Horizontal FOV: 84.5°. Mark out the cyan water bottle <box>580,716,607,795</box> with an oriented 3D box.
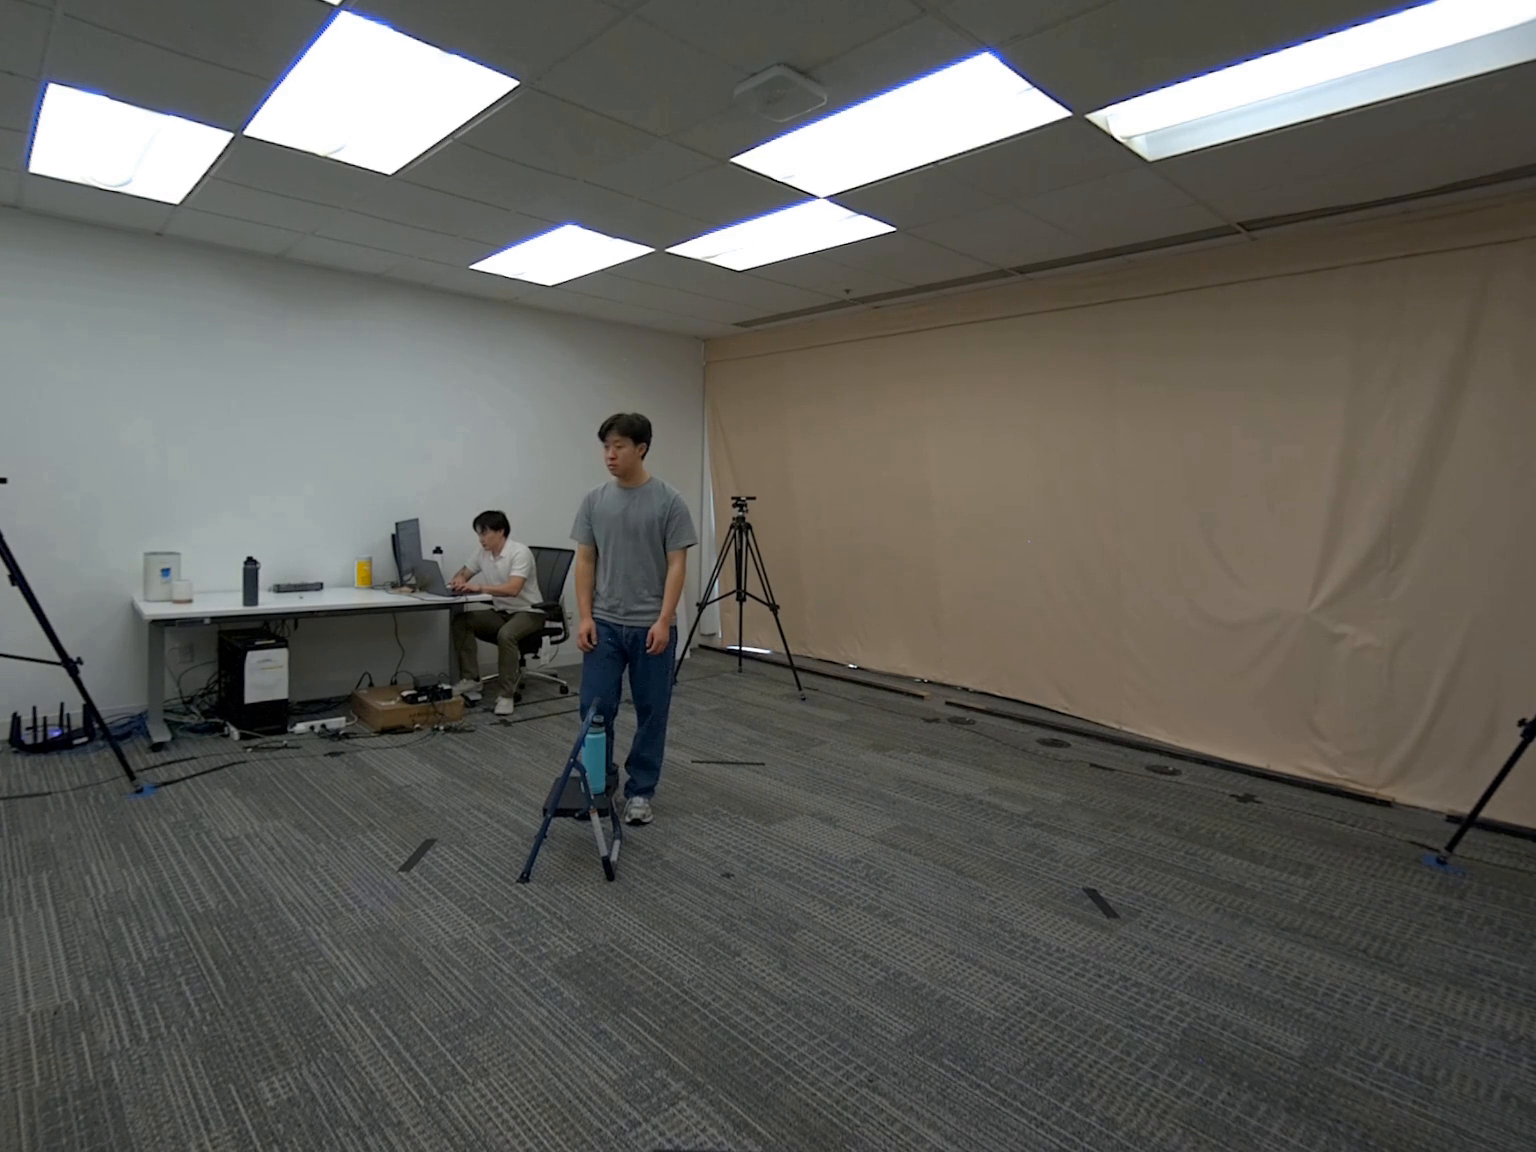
[{"bbox_3d":[-0.680,0.684,3.218,0.092,0.283,0.092,0,3,-1],"label":"cyan water bottle"}]
